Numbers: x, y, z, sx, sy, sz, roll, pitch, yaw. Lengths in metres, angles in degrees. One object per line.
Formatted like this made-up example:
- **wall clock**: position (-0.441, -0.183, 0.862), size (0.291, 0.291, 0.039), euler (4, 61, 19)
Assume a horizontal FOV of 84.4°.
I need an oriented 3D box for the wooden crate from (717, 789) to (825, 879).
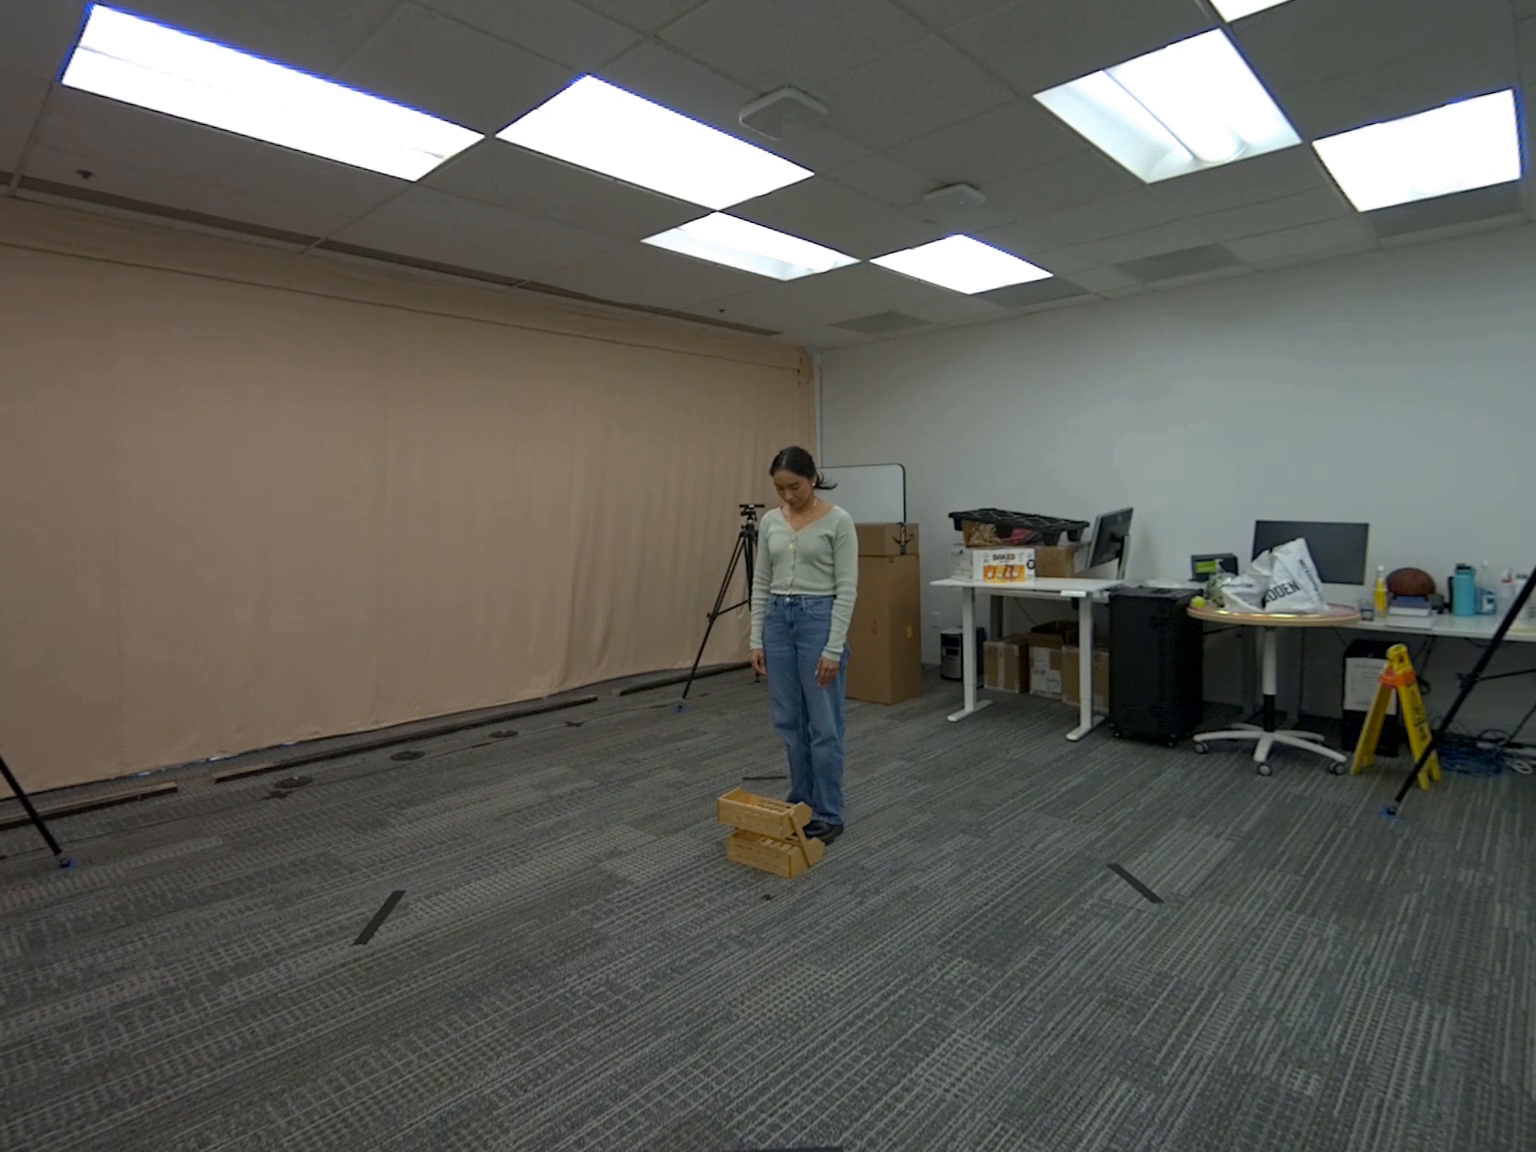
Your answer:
- **wooden crate**: position (0.015, 0.979, 3.286), size (0.335, 0.272, 0.293), euler (2, 6, 36)
